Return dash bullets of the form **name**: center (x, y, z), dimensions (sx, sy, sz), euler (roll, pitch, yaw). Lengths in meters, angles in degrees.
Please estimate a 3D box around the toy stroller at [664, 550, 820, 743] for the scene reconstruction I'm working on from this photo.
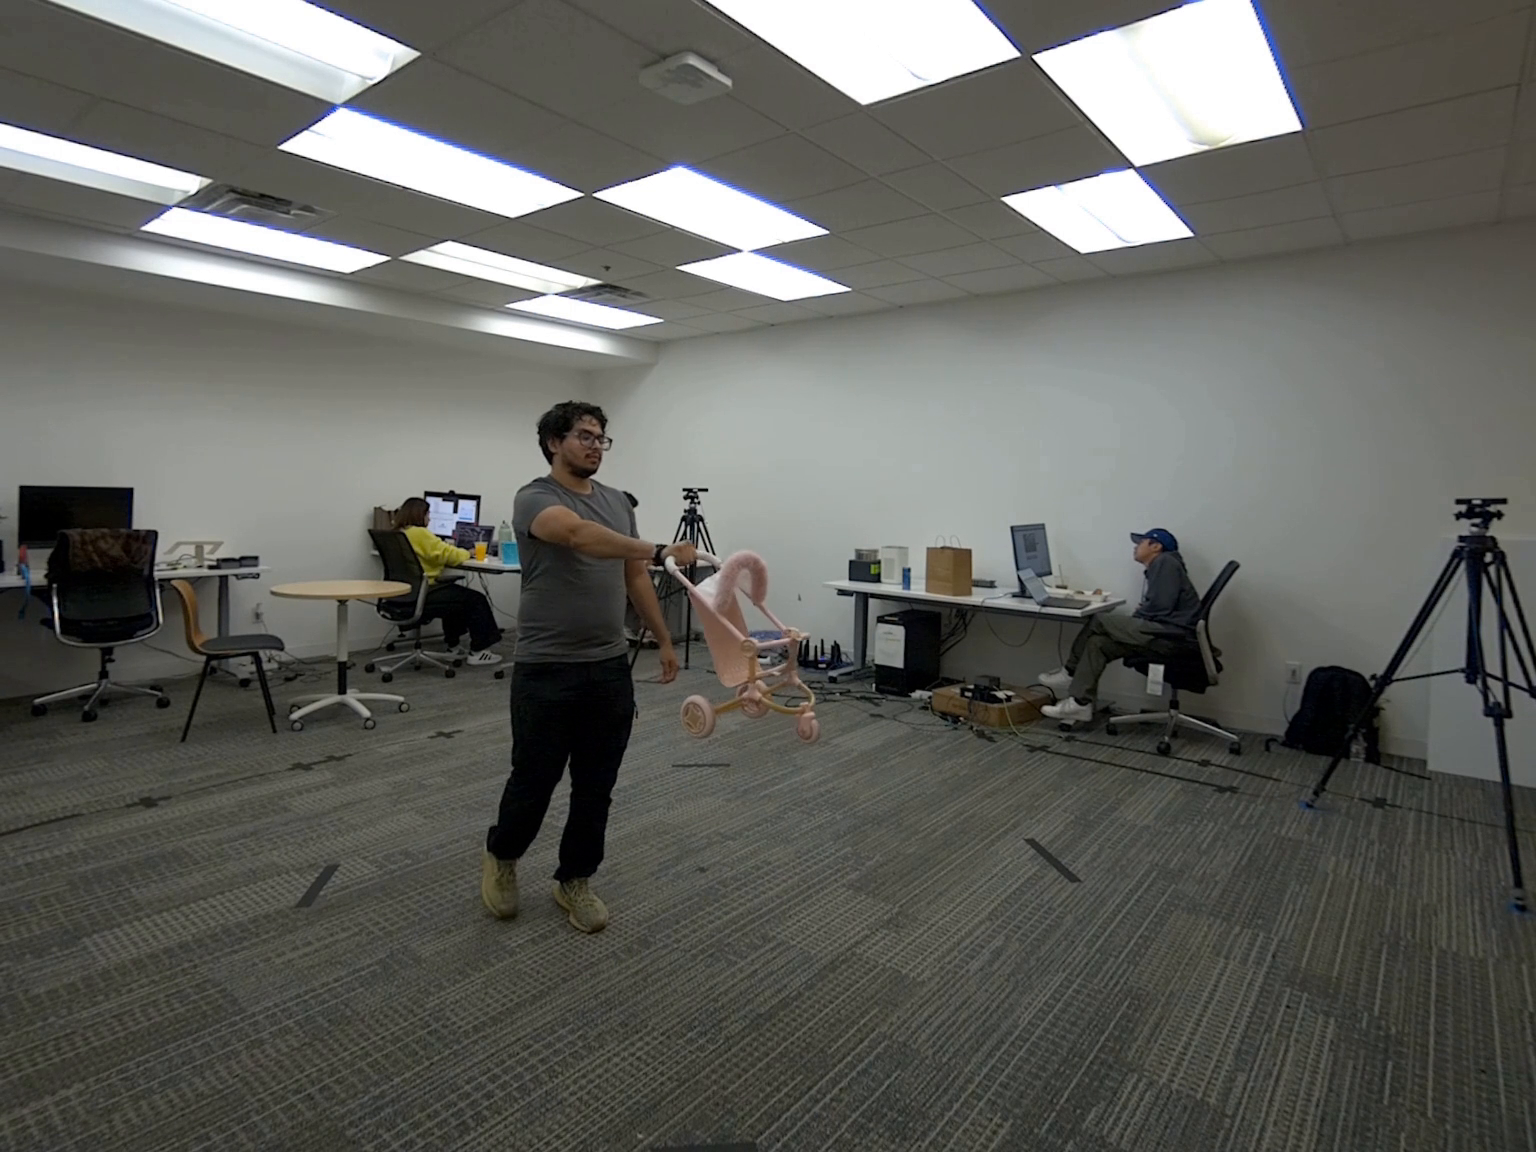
- **toy stroller**: center (-0.062, 0.177, 2.204), dimensions (0.349, 0.538, 0.273), euler (-14, -6, 39)
